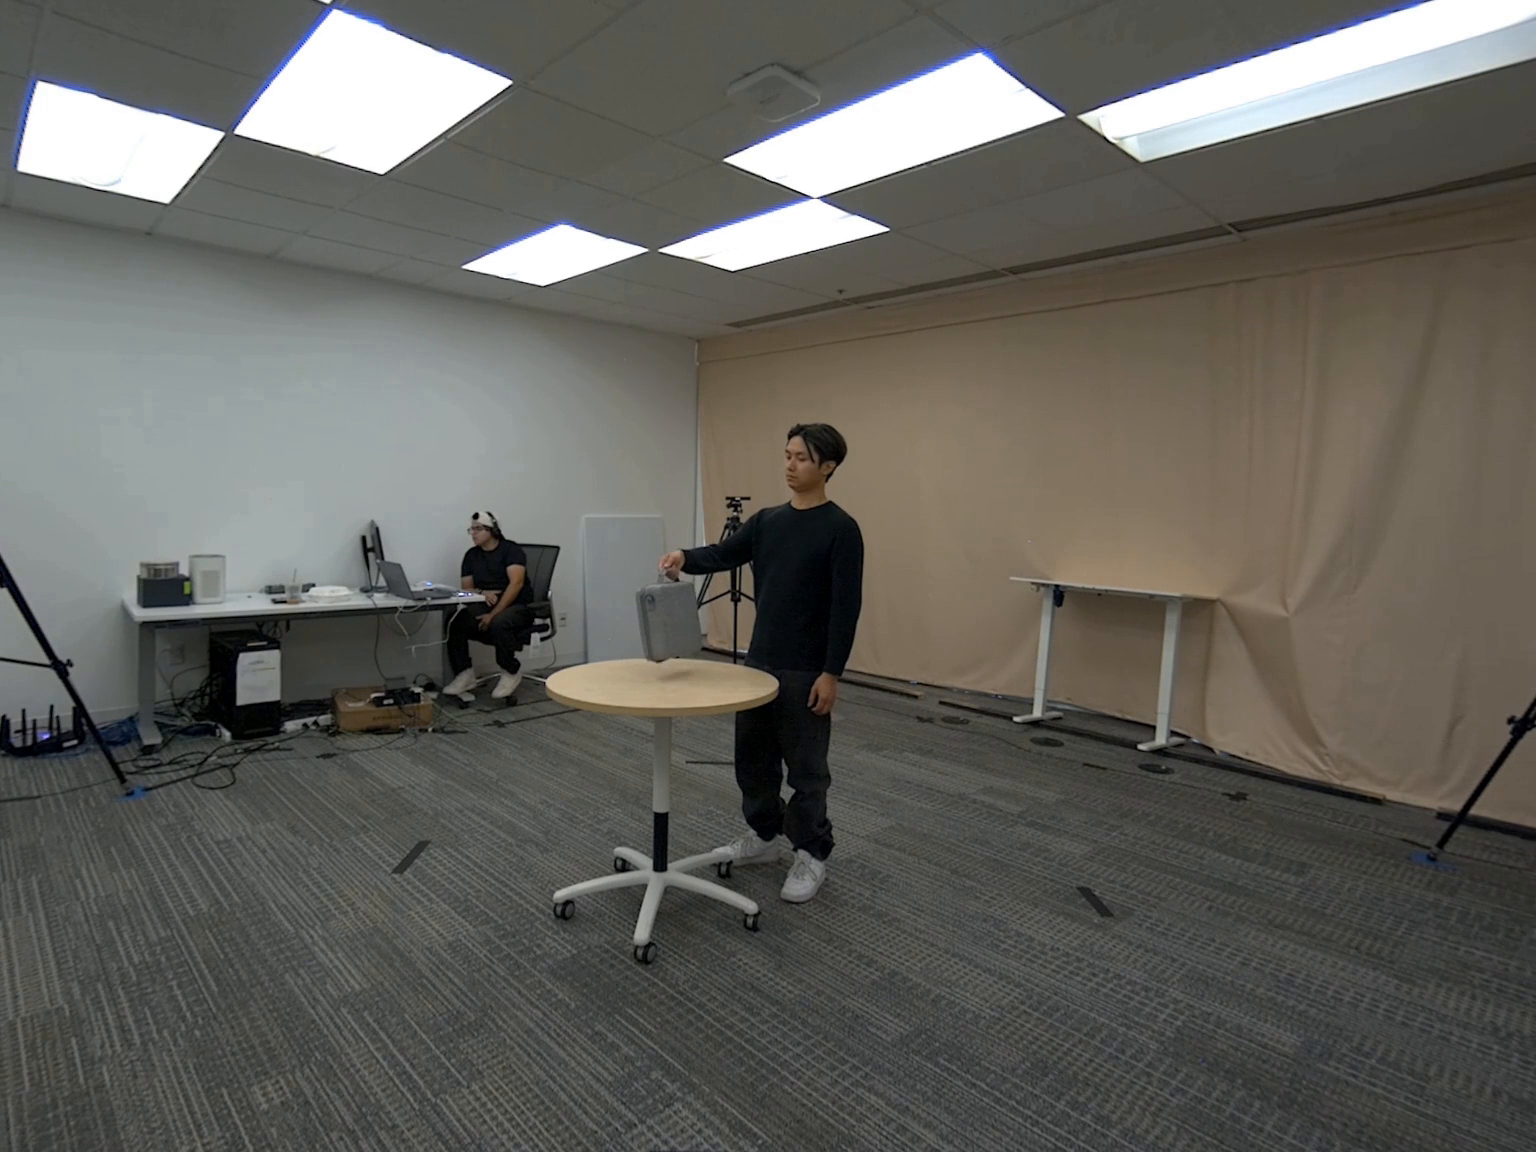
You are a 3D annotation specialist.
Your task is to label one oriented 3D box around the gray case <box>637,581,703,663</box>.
[{"bbox_3d":[-0.346,0.146,2.873,0.106,0.261,0.252,-6,0,28],"label":"gray case"}]
